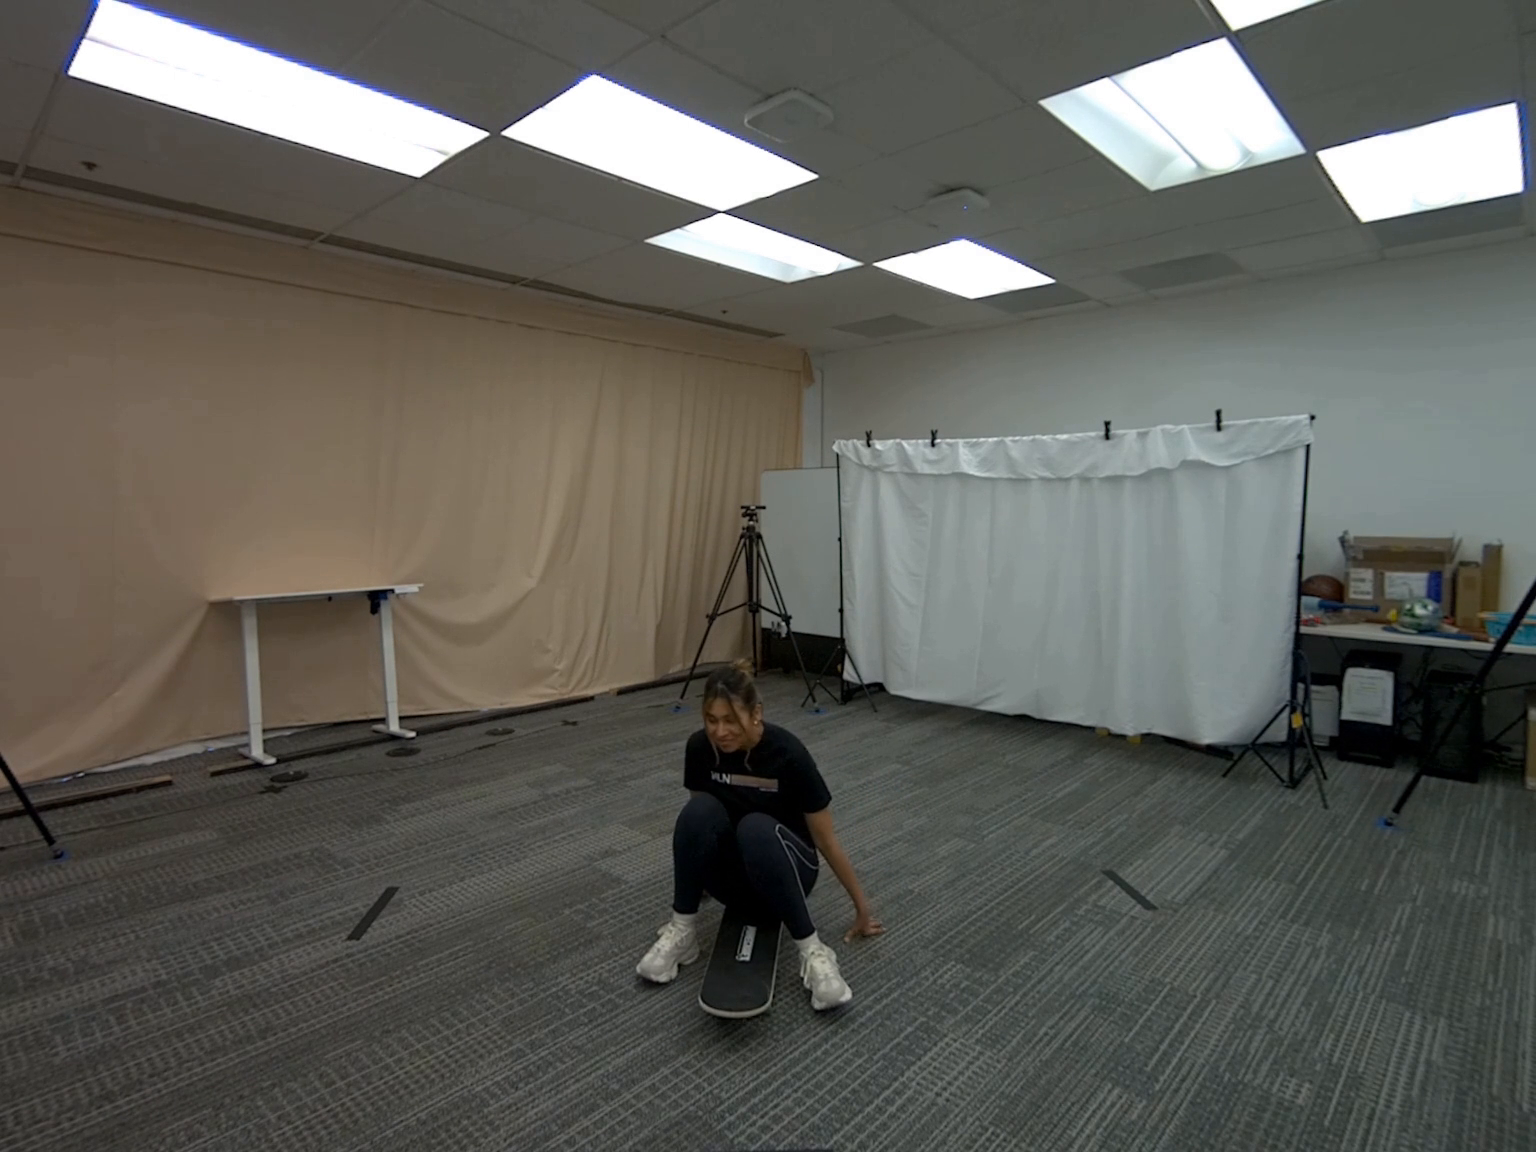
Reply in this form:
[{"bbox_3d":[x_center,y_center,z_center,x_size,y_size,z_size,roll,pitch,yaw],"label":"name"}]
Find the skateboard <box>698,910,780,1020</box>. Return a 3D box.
[{"bbox_3d":[-0.062,1.118,2.509,0.195,0.110,0.780,-1,4,6],"label":"skateboard"}]
